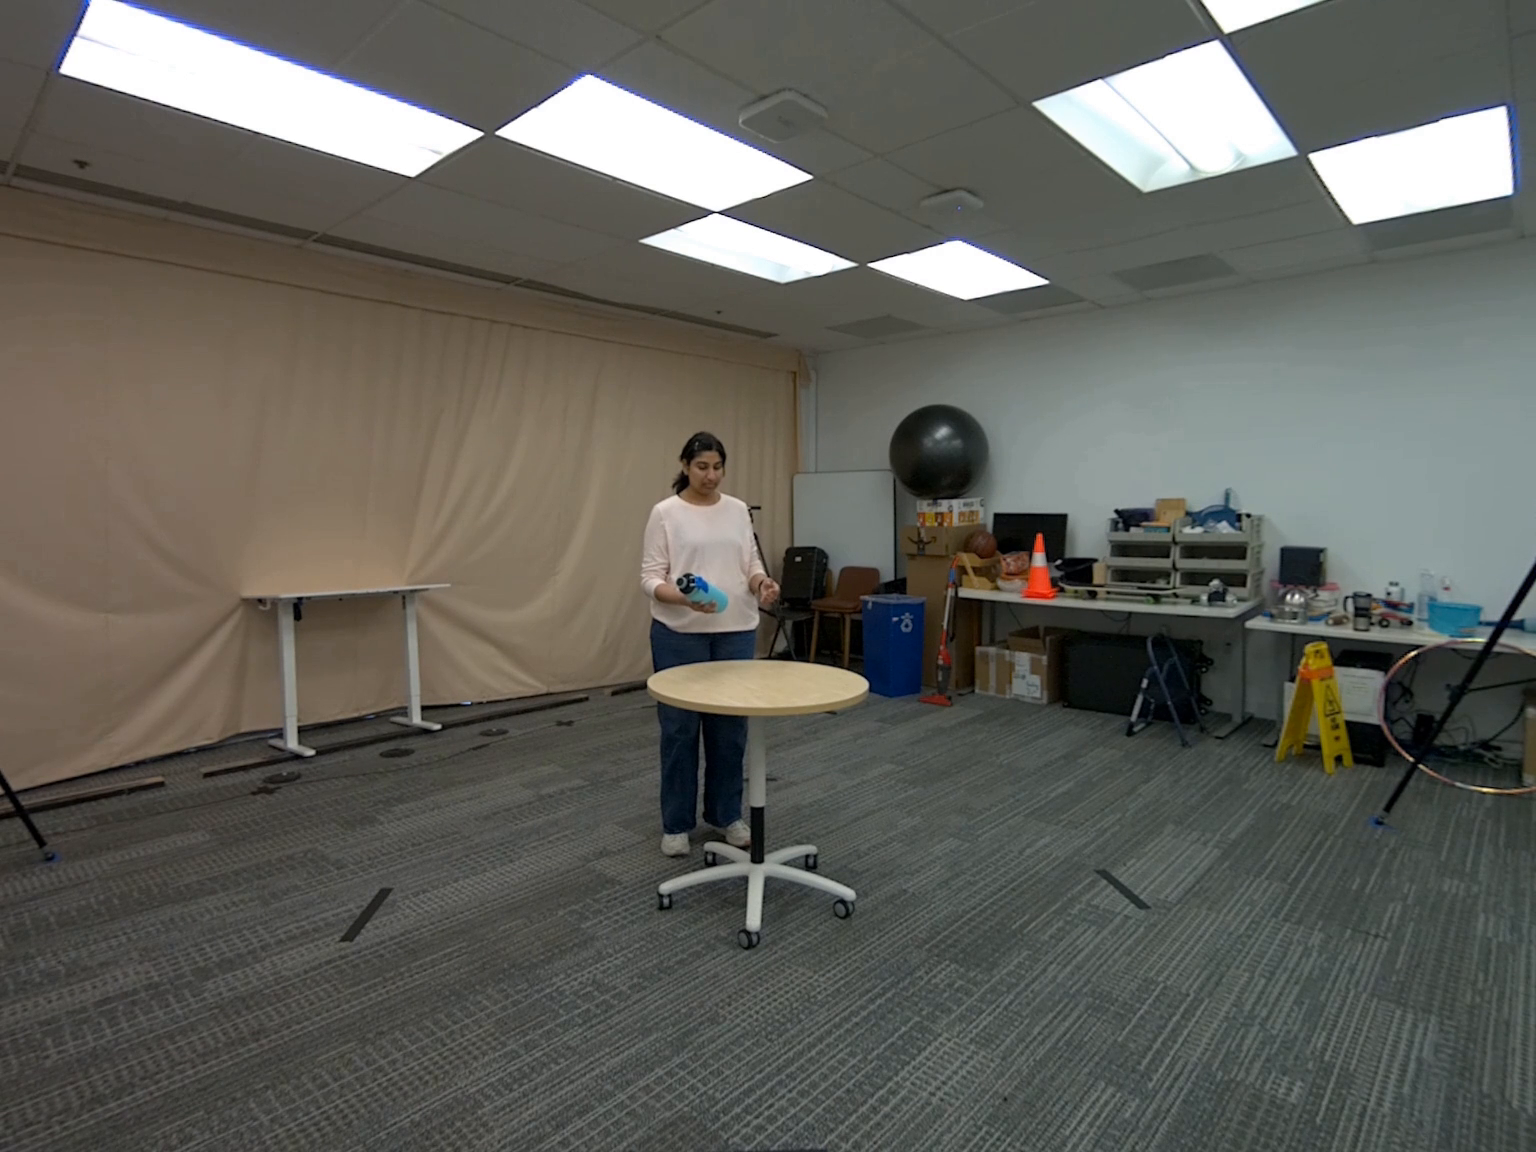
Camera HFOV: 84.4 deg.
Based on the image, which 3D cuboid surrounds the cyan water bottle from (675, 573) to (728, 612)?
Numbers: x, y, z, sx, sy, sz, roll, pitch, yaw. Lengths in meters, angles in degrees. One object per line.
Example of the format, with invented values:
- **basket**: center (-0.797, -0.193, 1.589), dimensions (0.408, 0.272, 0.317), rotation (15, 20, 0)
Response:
- **cyan water bottle**: center (-0.254, 0.060, 3.088), dimensions (0.095, 0.093, 0.274), rotation (2, -17, 24)
